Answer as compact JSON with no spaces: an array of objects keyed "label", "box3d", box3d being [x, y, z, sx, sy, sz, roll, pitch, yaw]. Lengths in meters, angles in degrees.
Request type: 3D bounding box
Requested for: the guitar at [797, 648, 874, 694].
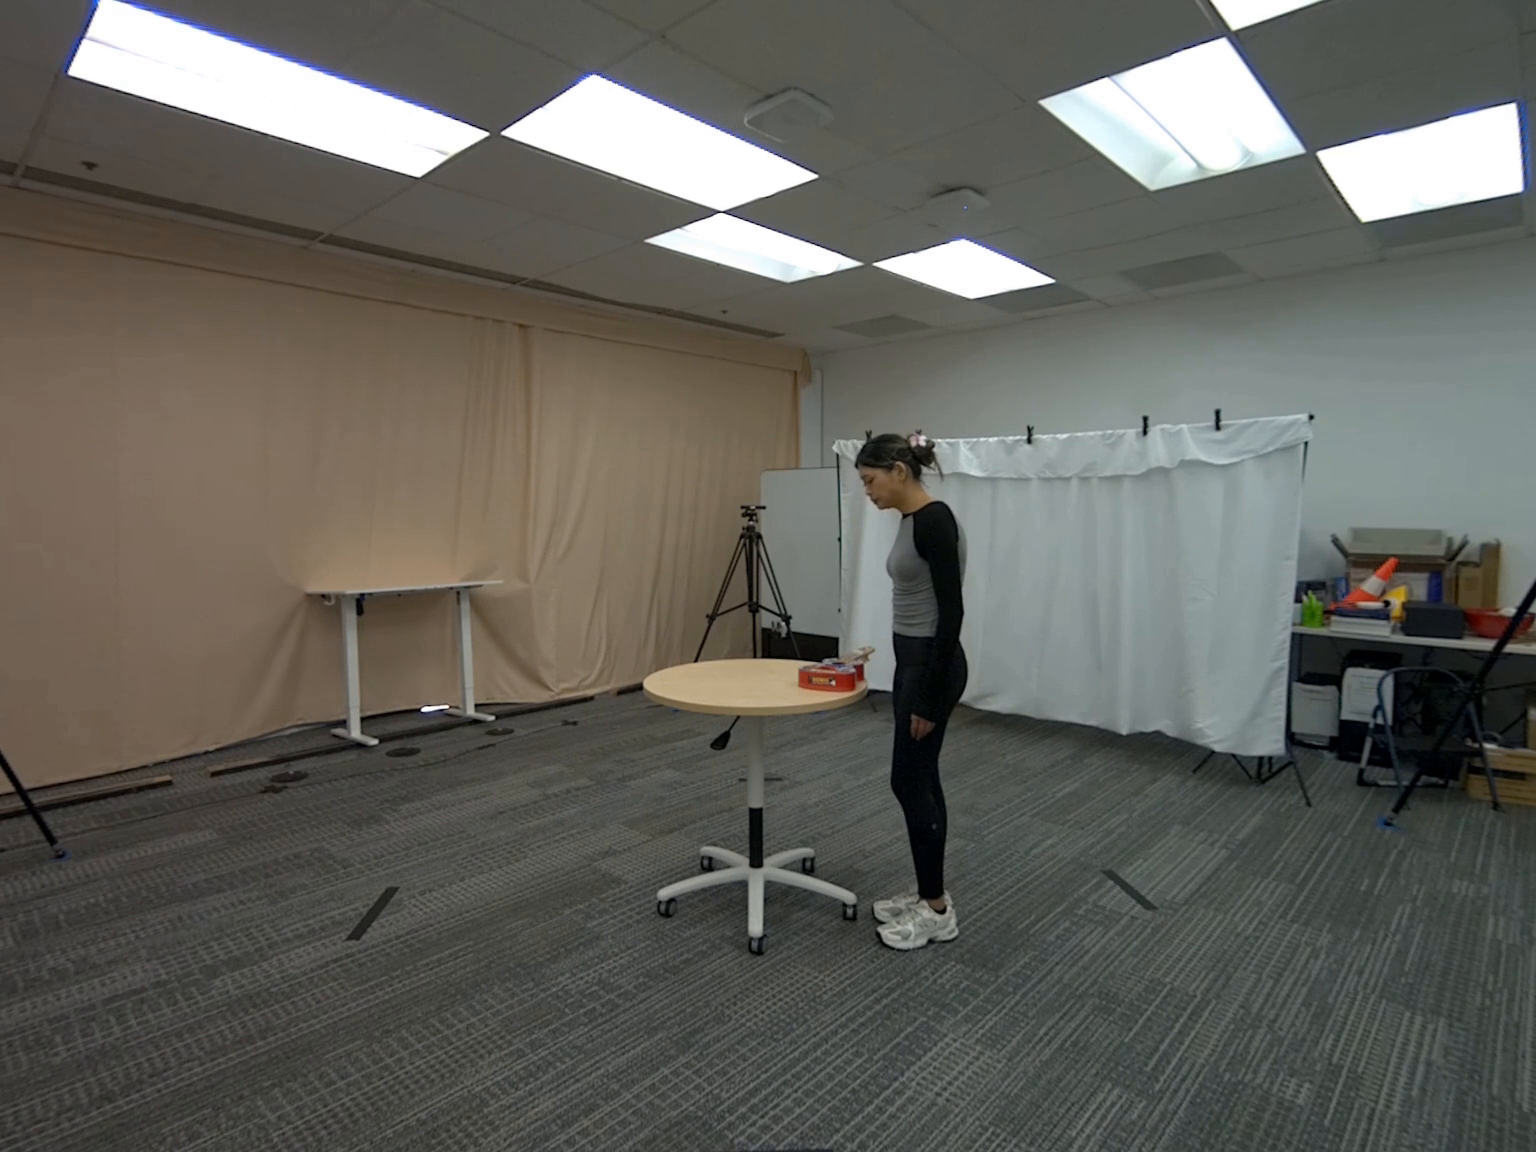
[{"label":"guitar","box3d":[0.311,0.322,2.916,0.199,0.070,0.483,2,6,38]}]
